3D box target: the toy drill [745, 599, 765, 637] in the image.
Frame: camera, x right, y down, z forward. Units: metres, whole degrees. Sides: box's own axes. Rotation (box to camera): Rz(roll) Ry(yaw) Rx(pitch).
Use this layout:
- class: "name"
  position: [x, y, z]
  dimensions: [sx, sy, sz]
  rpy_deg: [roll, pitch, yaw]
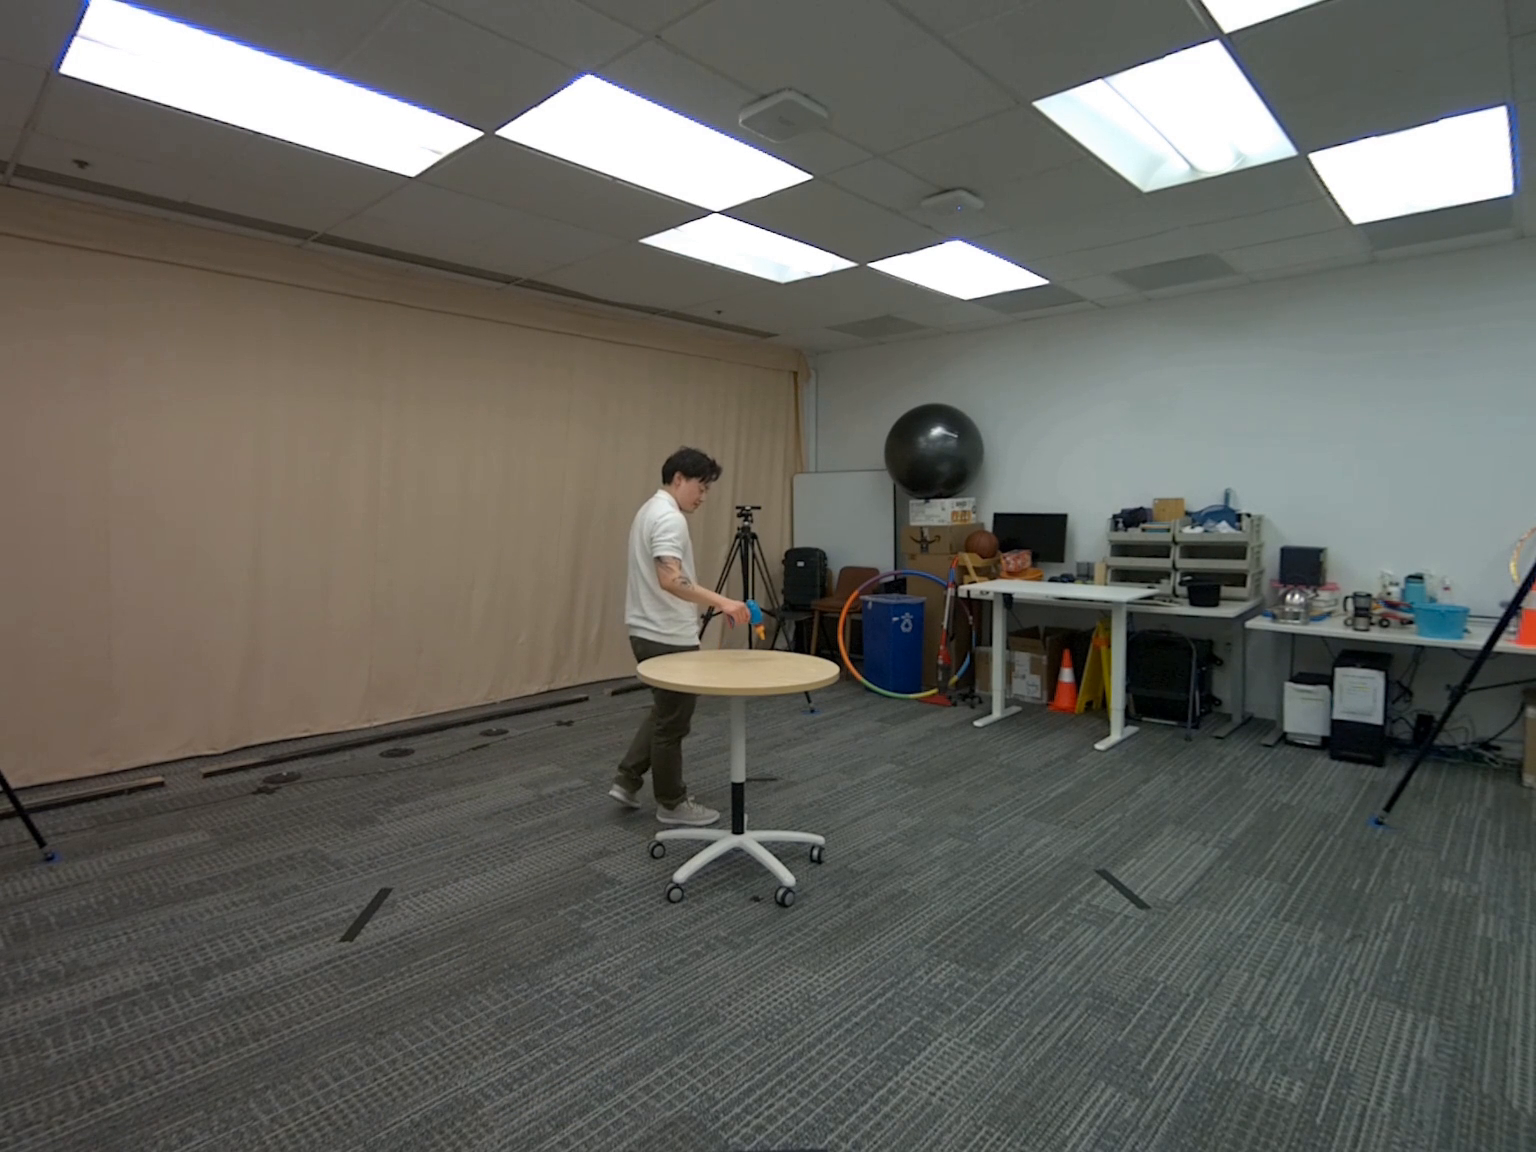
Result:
- class: "toy drill"
  position: [-0.087, 0.194, 3.337]
  dimensions: [0.145, 0.168, 0.062]
  rpy_deg: [-17, 9, -4]
